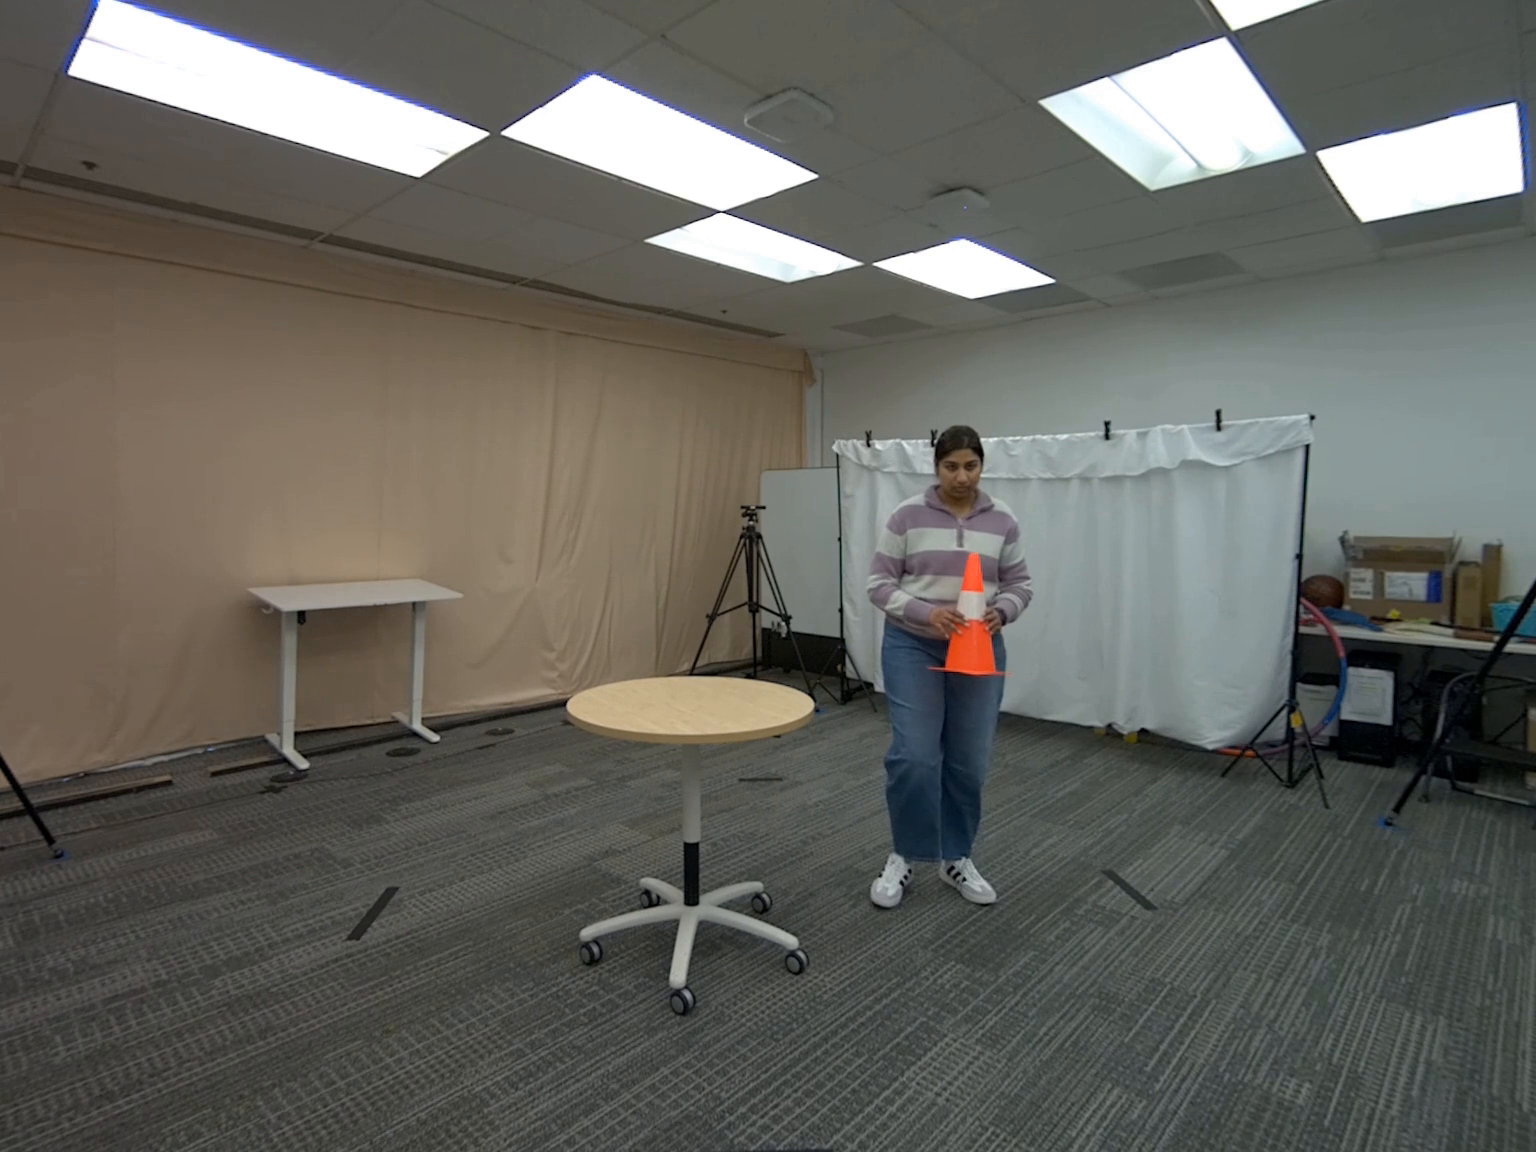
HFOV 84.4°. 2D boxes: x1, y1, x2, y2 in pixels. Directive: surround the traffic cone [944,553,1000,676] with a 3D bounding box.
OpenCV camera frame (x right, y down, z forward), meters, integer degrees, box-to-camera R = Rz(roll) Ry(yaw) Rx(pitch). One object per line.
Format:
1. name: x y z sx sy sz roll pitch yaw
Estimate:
1. traffic cone: 0.663 0.122 2.742 0.211 0.385 0.196 -3 -7 43
